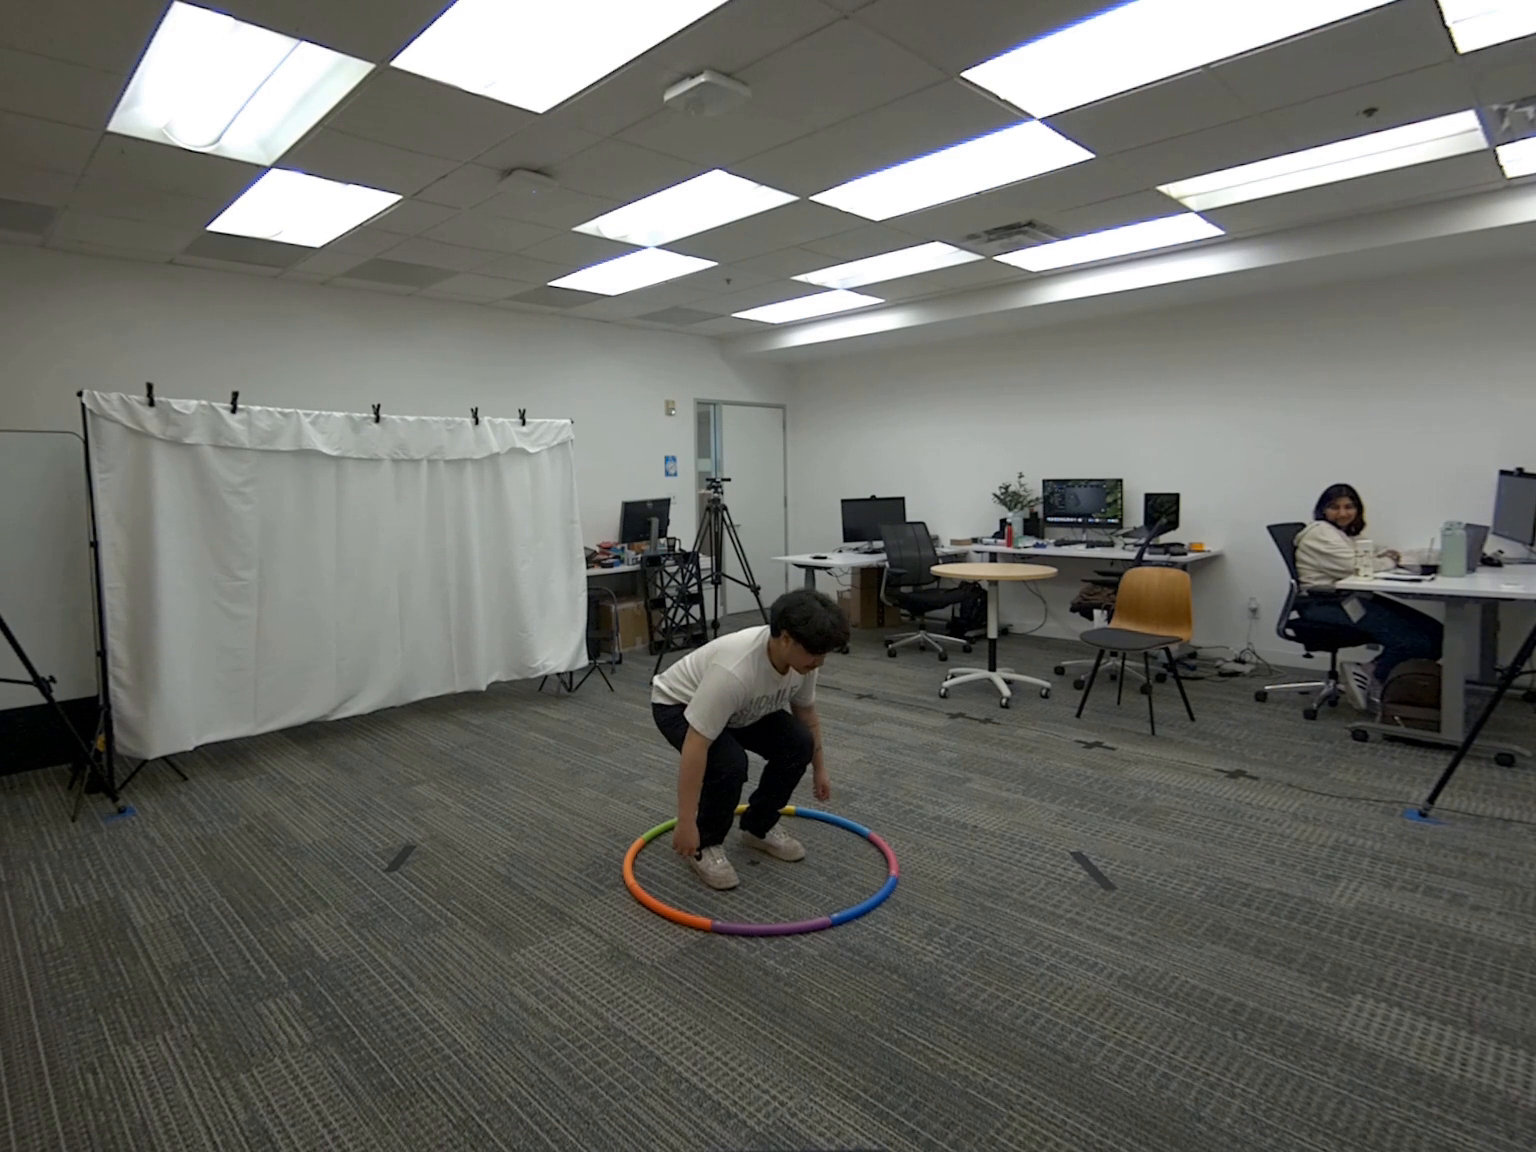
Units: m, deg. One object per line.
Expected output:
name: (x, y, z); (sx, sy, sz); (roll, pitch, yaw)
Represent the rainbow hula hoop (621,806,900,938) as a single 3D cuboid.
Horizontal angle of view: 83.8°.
rainbow hula hoop: (-0.029, 1.019, 3.091); (0.985, 0.051, 0.991); (-1, 6, -2)
